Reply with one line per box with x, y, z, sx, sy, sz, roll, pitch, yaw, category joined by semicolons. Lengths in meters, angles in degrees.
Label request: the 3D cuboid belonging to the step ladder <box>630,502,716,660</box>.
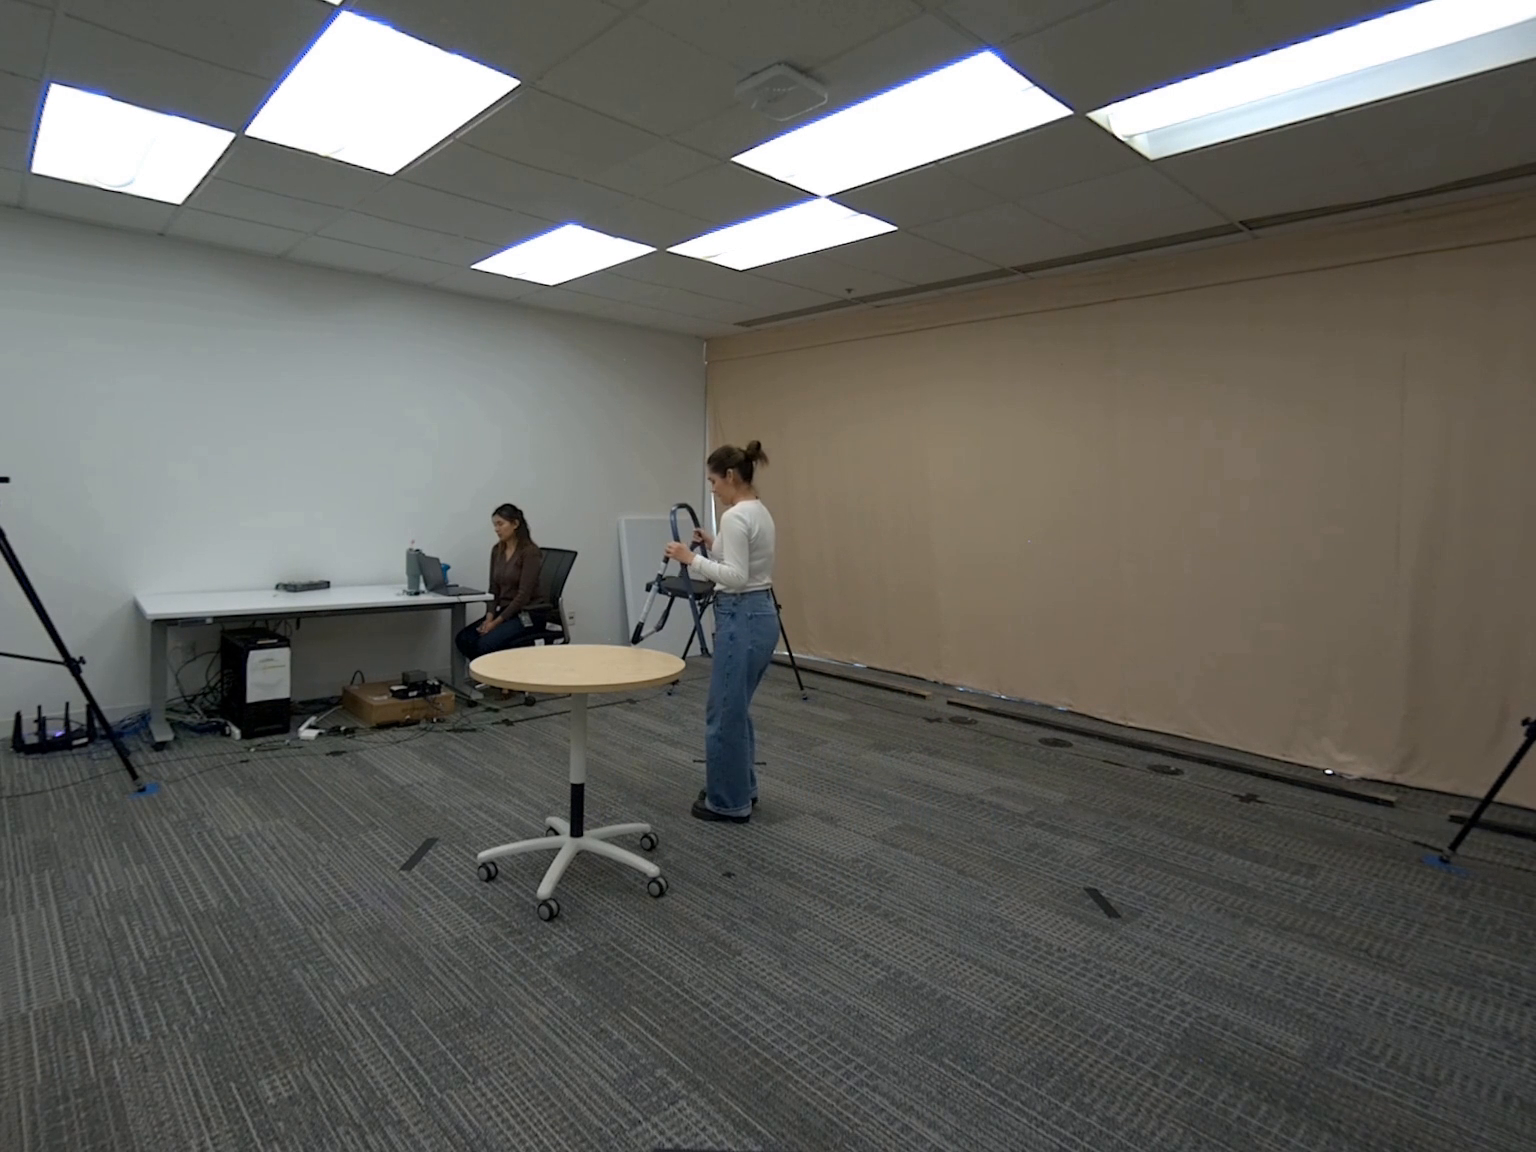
-0.343;-0.006;3.685;0.352;0.604;0.428;7;5;9;step ladder
